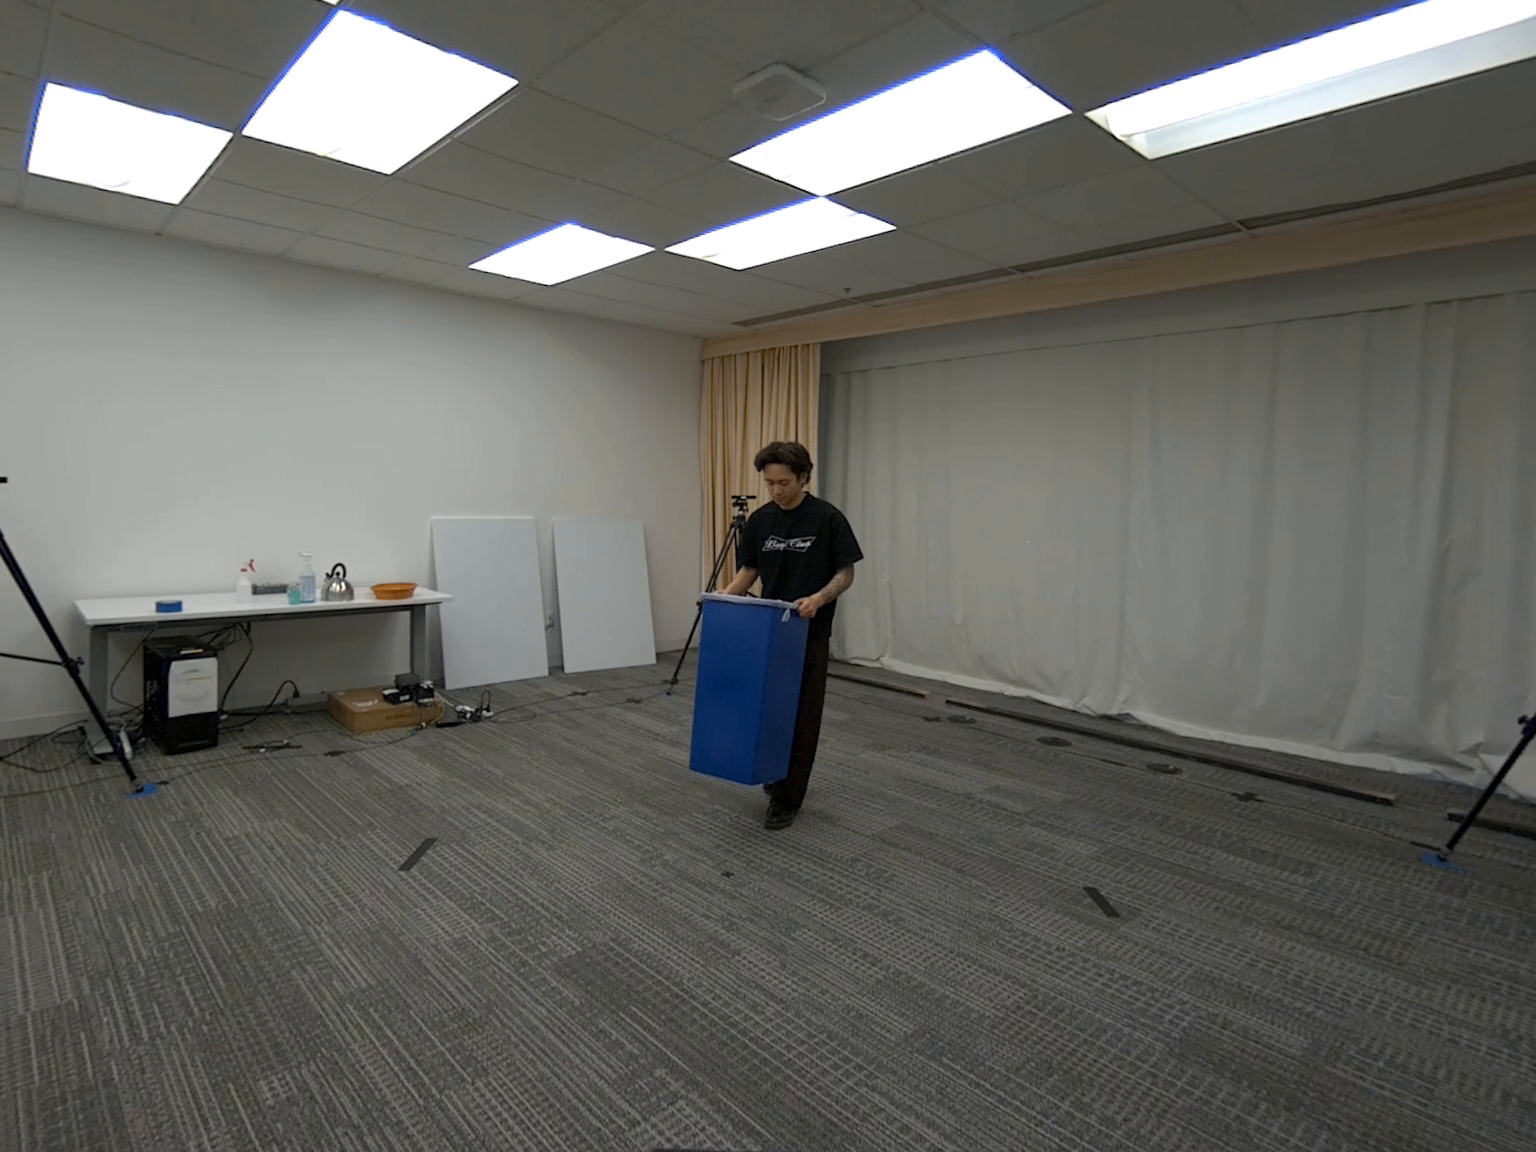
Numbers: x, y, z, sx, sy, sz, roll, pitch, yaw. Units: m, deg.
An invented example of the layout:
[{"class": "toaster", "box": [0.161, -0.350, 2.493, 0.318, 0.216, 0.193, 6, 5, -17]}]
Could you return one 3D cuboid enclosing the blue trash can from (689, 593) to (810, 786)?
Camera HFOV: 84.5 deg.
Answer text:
[{"class": "blue trash can", "box": [-0.100, 0.454, 3.455, 0.382, 0.715, 0.368, 5, -5, 31]}]
